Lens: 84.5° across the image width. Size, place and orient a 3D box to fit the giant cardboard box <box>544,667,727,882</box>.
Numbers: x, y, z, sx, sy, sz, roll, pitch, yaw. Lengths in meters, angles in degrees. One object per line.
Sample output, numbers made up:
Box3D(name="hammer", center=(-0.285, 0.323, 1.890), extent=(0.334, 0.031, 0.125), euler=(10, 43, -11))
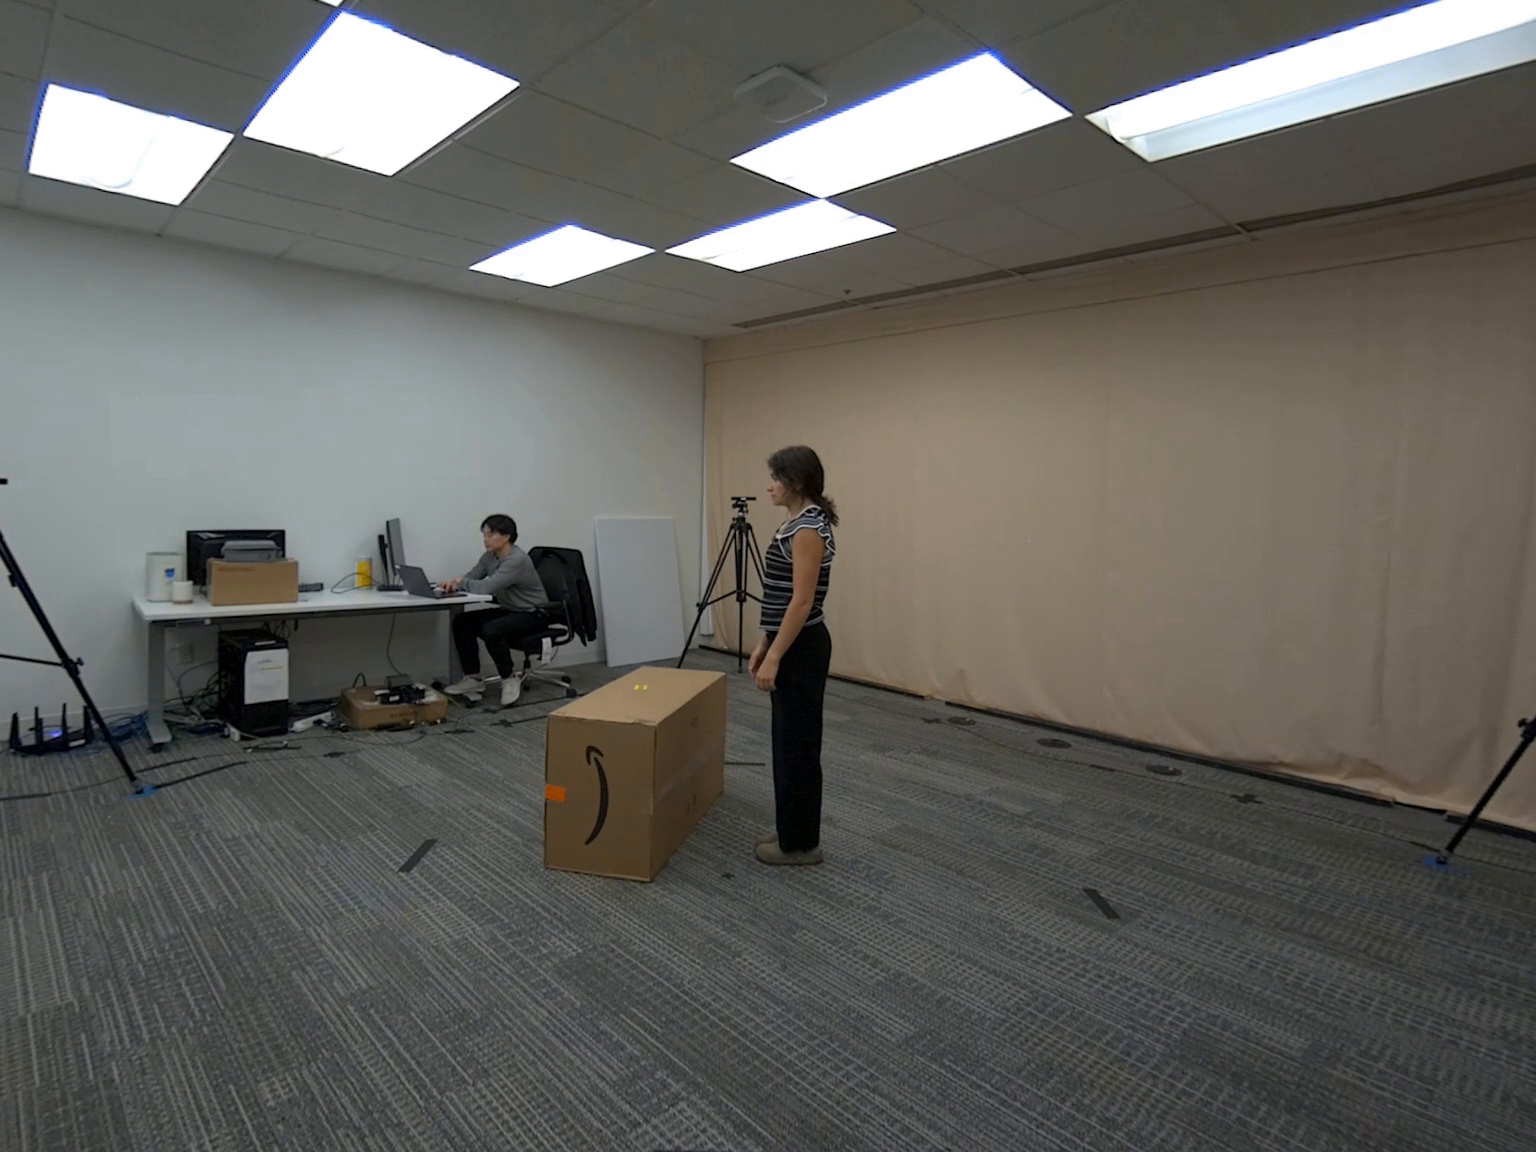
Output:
Box3D(name="giant cardboard box", center=(-0.523, 0.772, 3.560), extent=(0.431, 0.576, 1.017), euler=(3, 5, 12))
